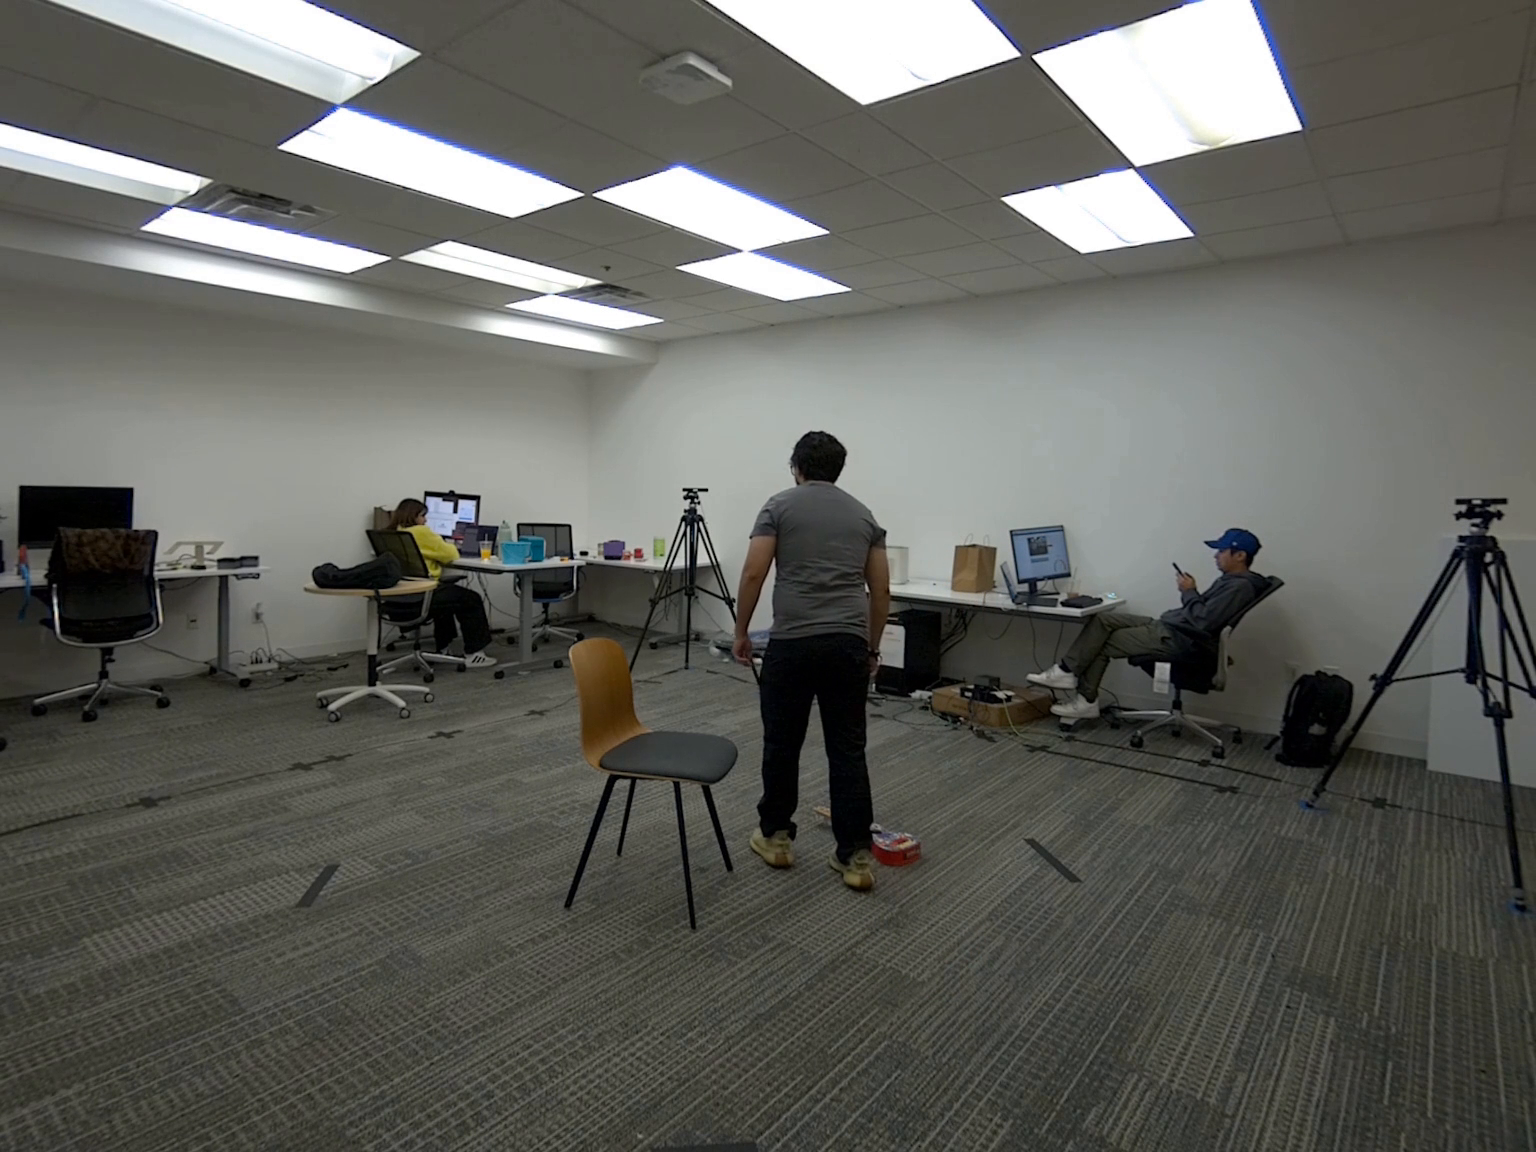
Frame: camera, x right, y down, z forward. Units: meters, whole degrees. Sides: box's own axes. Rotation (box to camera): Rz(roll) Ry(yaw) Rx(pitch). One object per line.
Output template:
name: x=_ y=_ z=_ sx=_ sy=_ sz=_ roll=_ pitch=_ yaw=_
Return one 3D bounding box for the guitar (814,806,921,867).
guitar: x=0.385 y=1.019 z=3.410 sx=0.188 sy=0.070 sz=0.514 roll=-3 pitch=7 yaw=-33
